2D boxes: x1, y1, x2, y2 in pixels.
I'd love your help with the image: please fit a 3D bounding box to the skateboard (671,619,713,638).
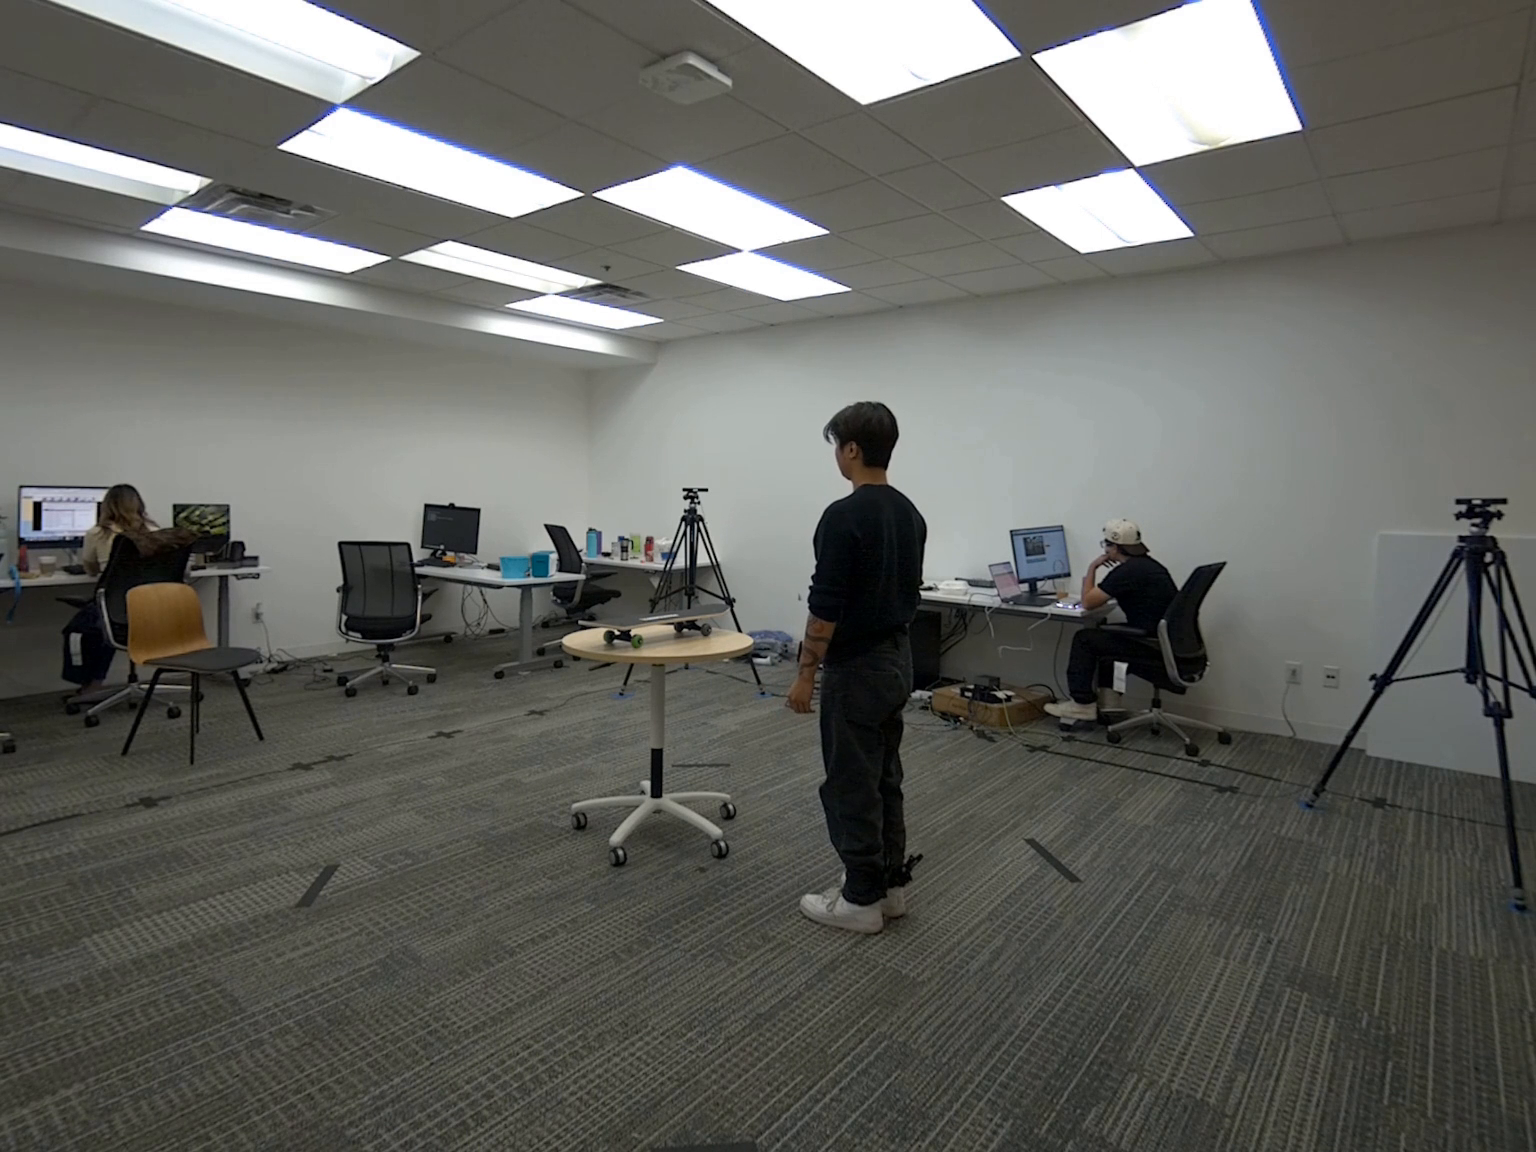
[{"bbox_3d":[-0.430,0.202,3.423,0.200,0.110,0.762,4,6,38],"label":"skateboard"}]
